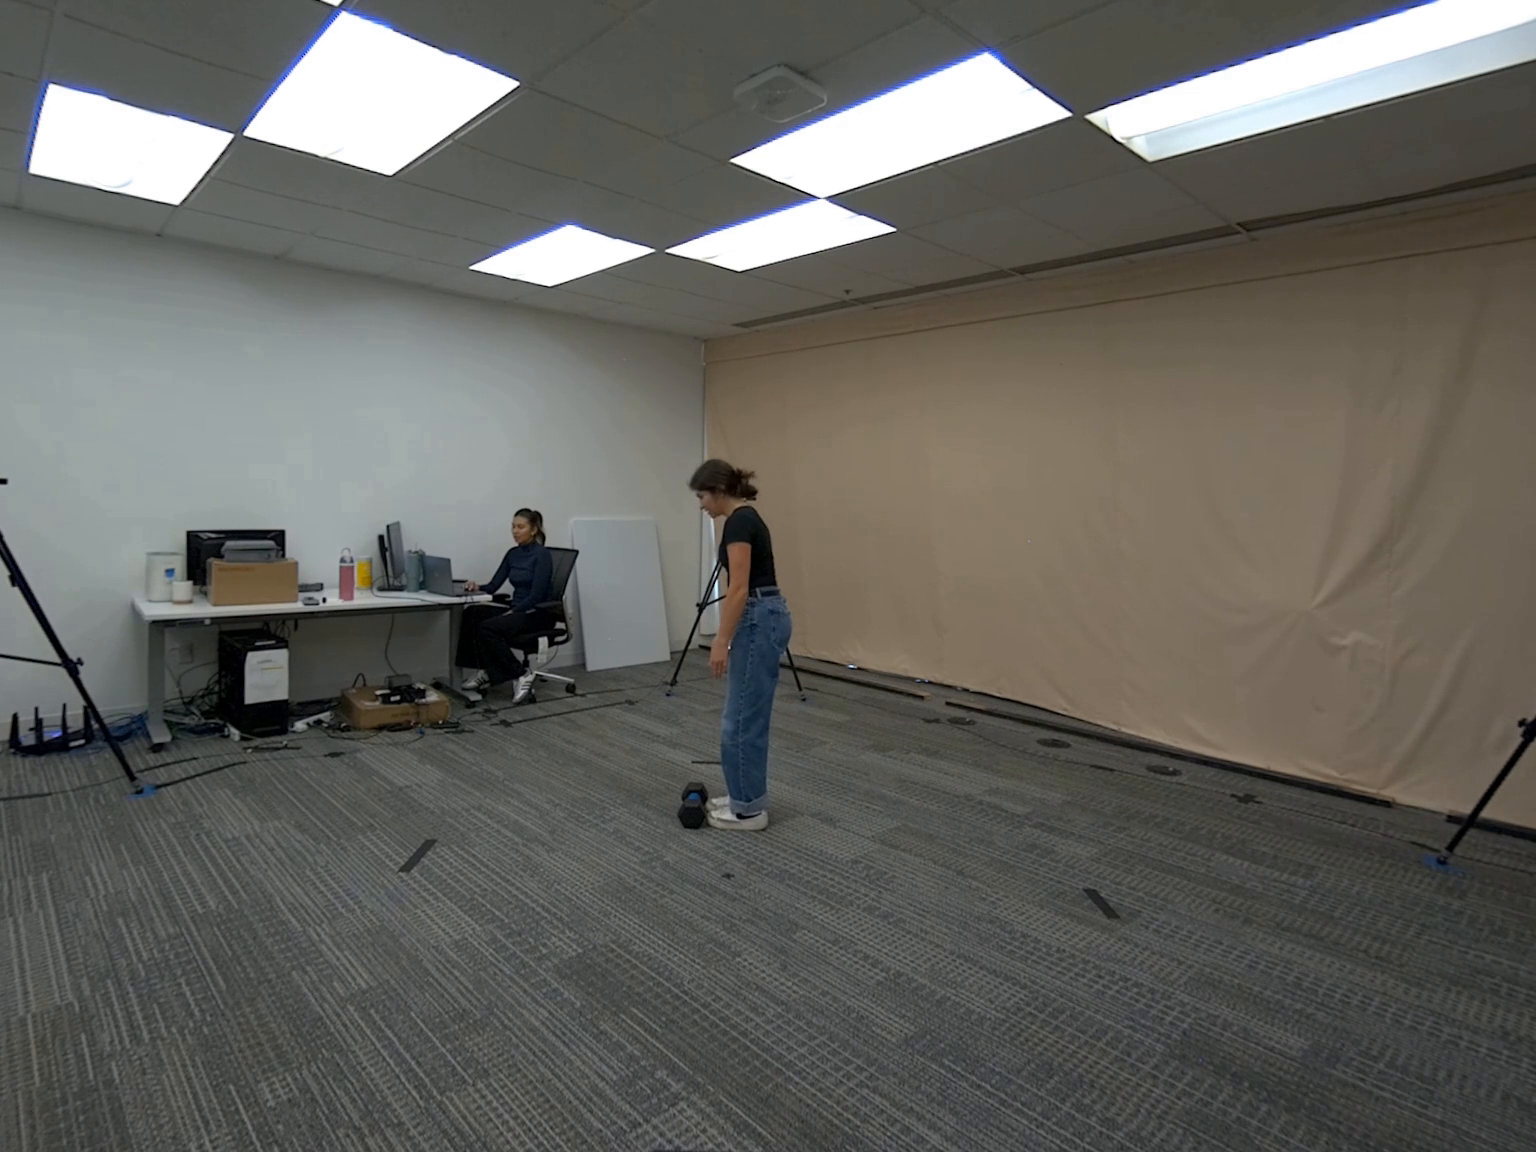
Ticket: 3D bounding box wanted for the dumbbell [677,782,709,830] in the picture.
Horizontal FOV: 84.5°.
[{"bbox_3d":[-0.329,0.993,3.676,0.108,0.123,0.294,31,3,-3],"label":"dumbbell"}]
